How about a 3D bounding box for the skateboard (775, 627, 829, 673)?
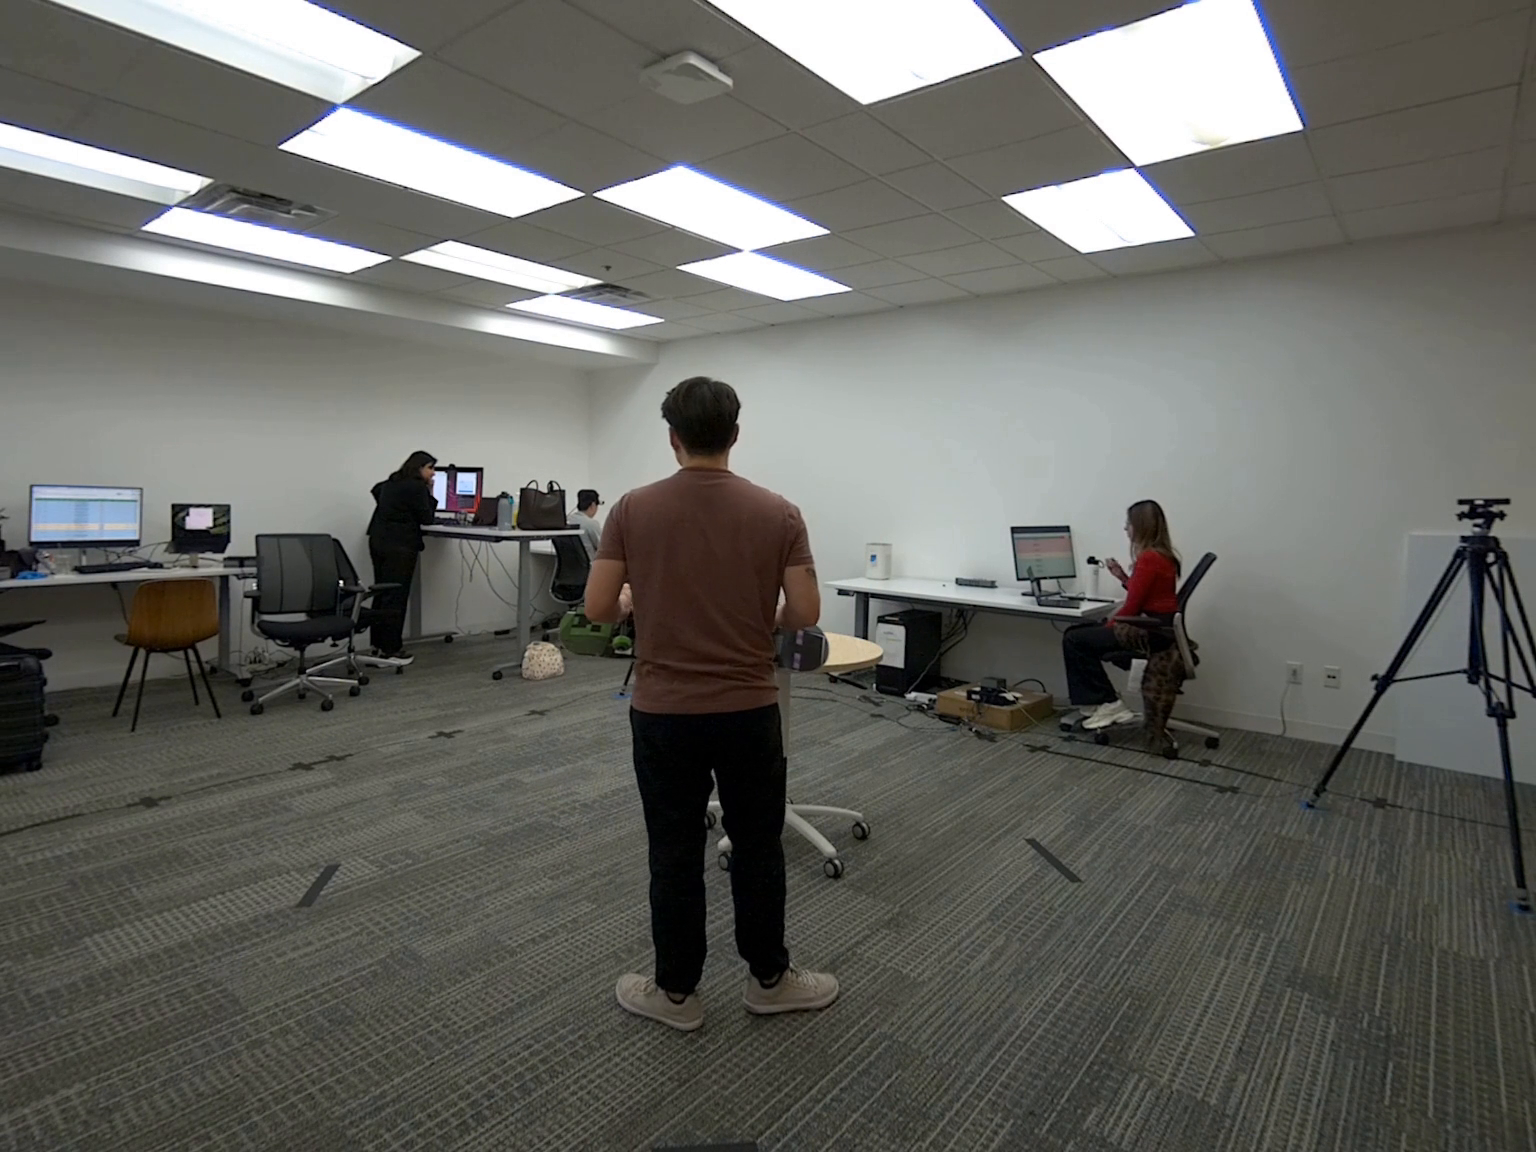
[{"bbox_3d":[-0.210,0.155,2.435,0.784,0.198,0.107,4,-37,-1],"label":"skateboard"}]
